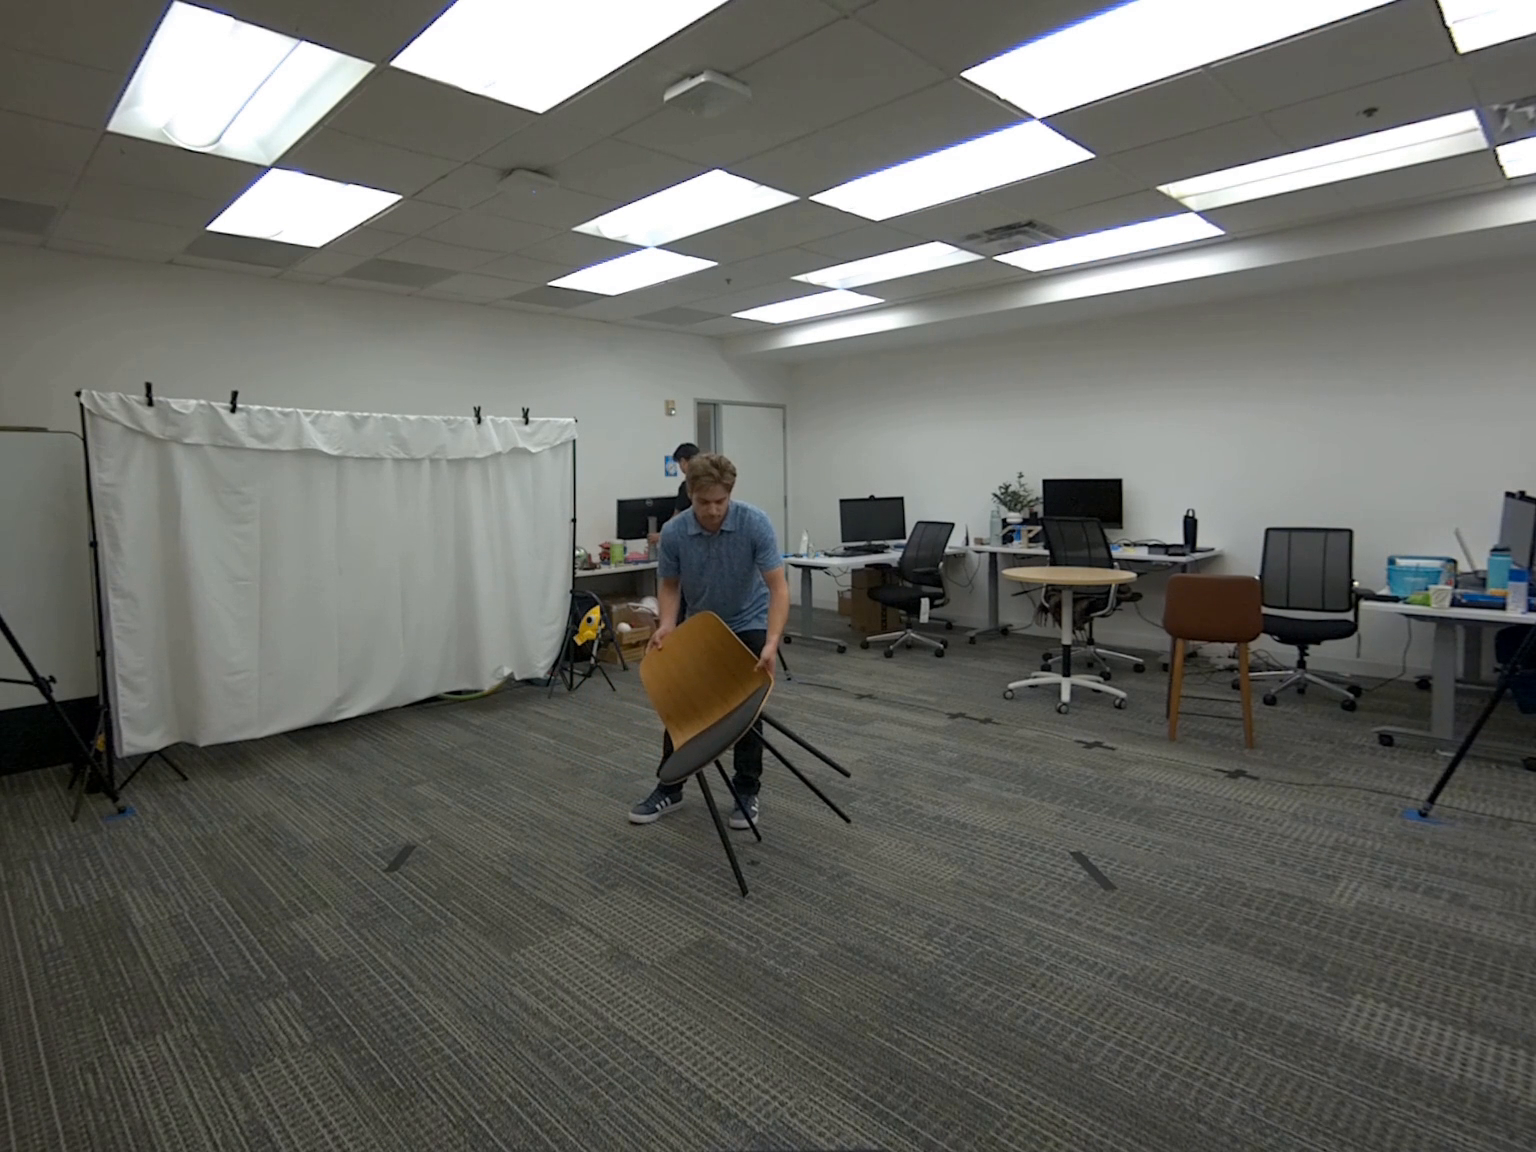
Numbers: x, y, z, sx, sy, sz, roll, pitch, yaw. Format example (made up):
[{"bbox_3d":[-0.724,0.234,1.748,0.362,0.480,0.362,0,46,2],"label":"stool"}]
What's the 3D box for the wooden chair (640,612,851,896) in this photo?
[{"bbox_3d":[-0.144,0.582,3.044,0.479,0.885,0.518,-38,-6,9],"label":"wooden chair"}]
